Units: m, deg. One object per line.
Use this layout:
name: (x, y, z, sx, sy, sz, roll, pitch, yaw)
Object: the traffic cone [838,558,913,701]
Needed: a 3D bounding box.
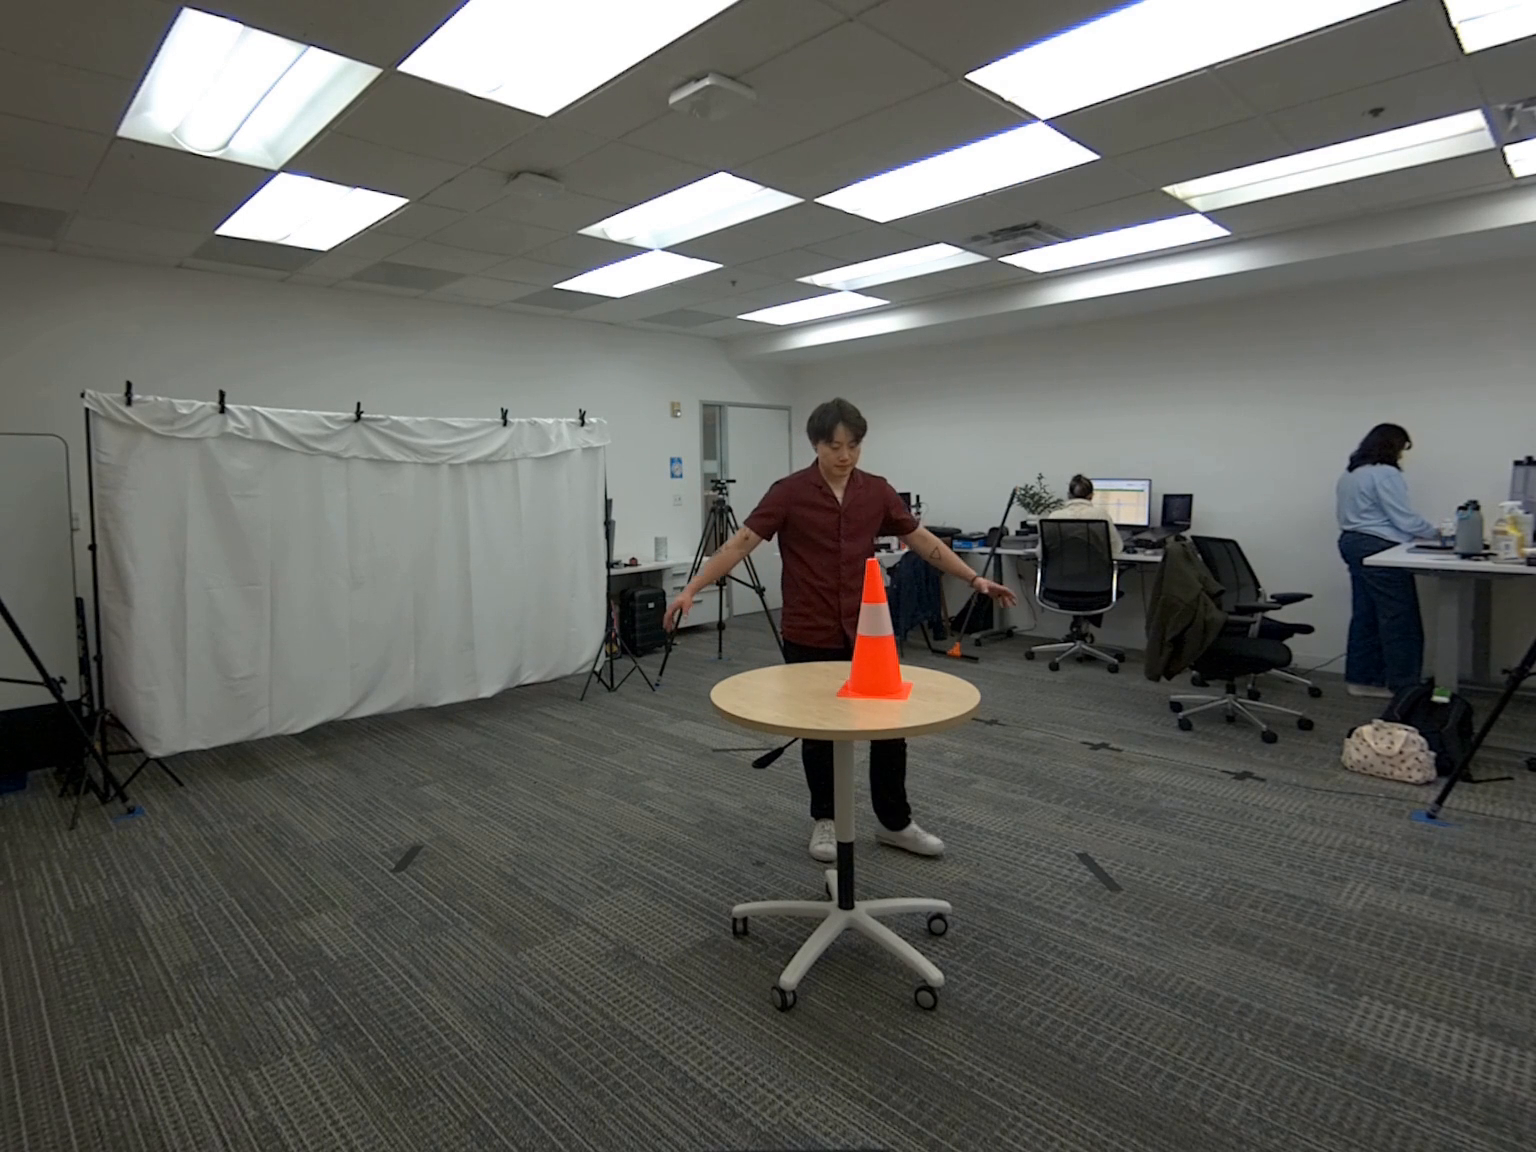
traffic cone: (0.308, 0.147, 2.447, 0.205, 0.382, 0.204, -1, 6, 10)
